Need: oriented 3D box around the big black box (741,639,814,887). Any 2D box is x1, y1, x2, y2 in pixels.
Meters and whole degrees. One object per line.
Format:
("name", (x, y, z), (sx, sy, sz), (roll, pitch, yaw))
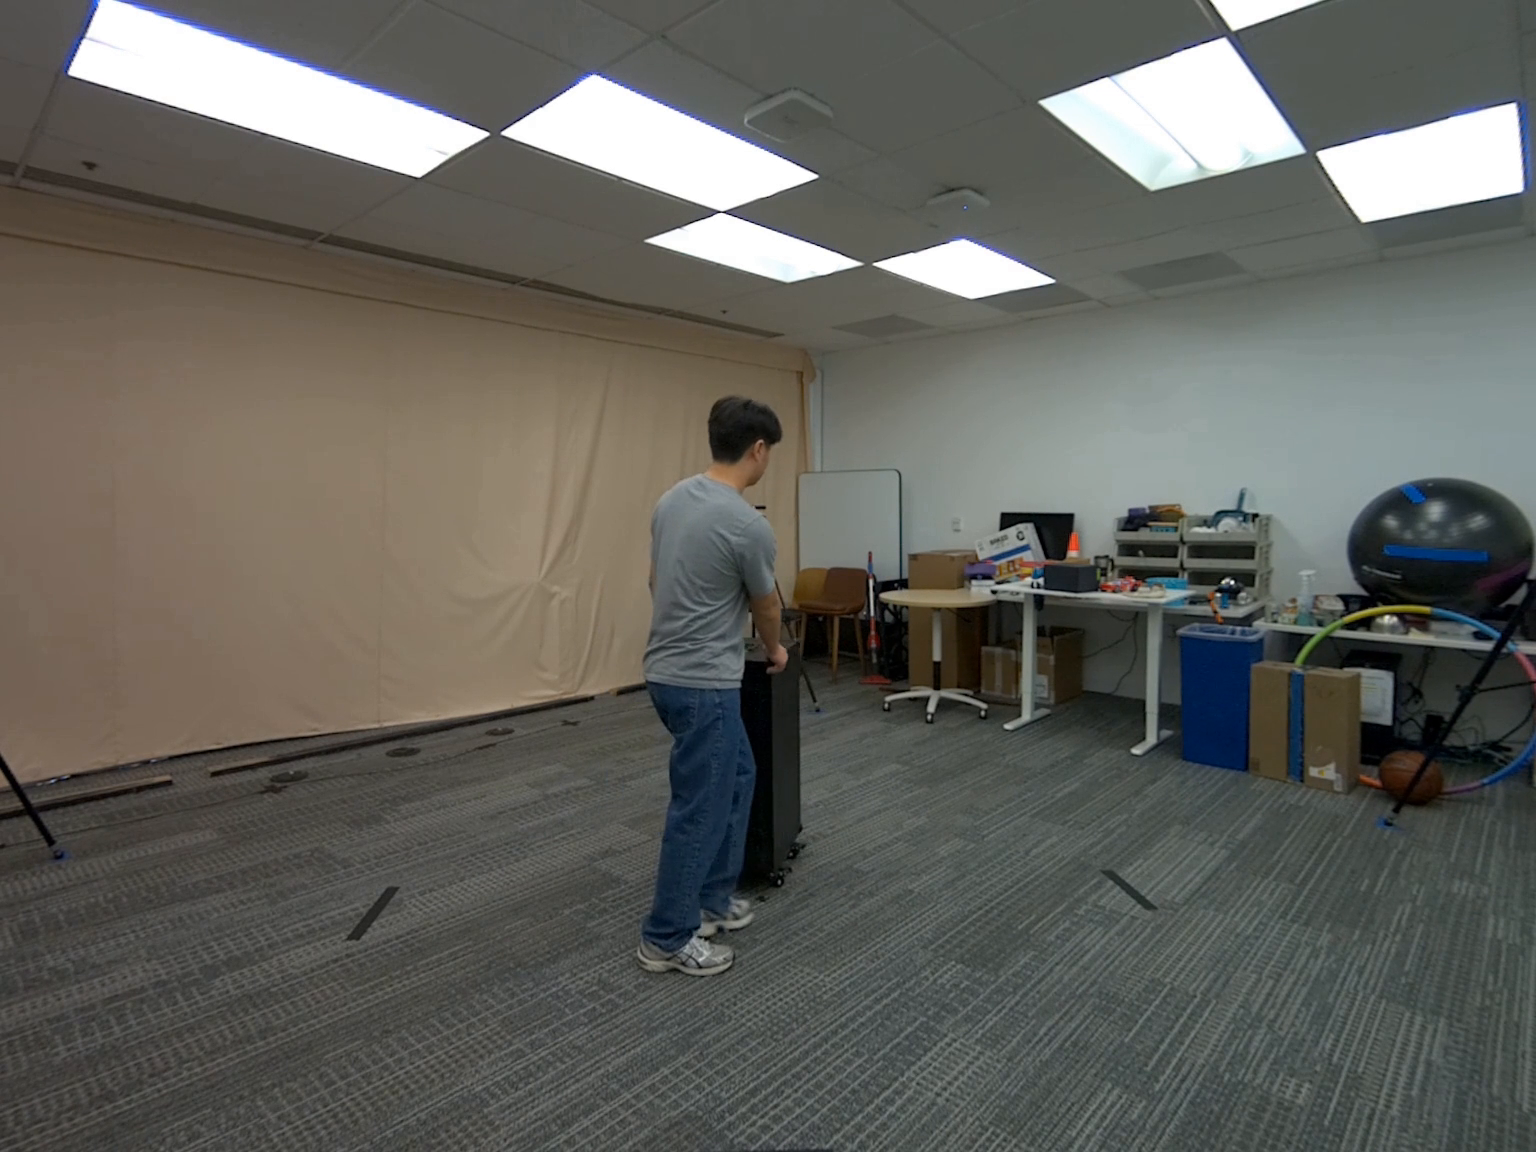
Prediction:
("big black box", (-0.098, 0.703, 3.224), (0.403, 0.860, 0.513), (-1, 3, 16))
